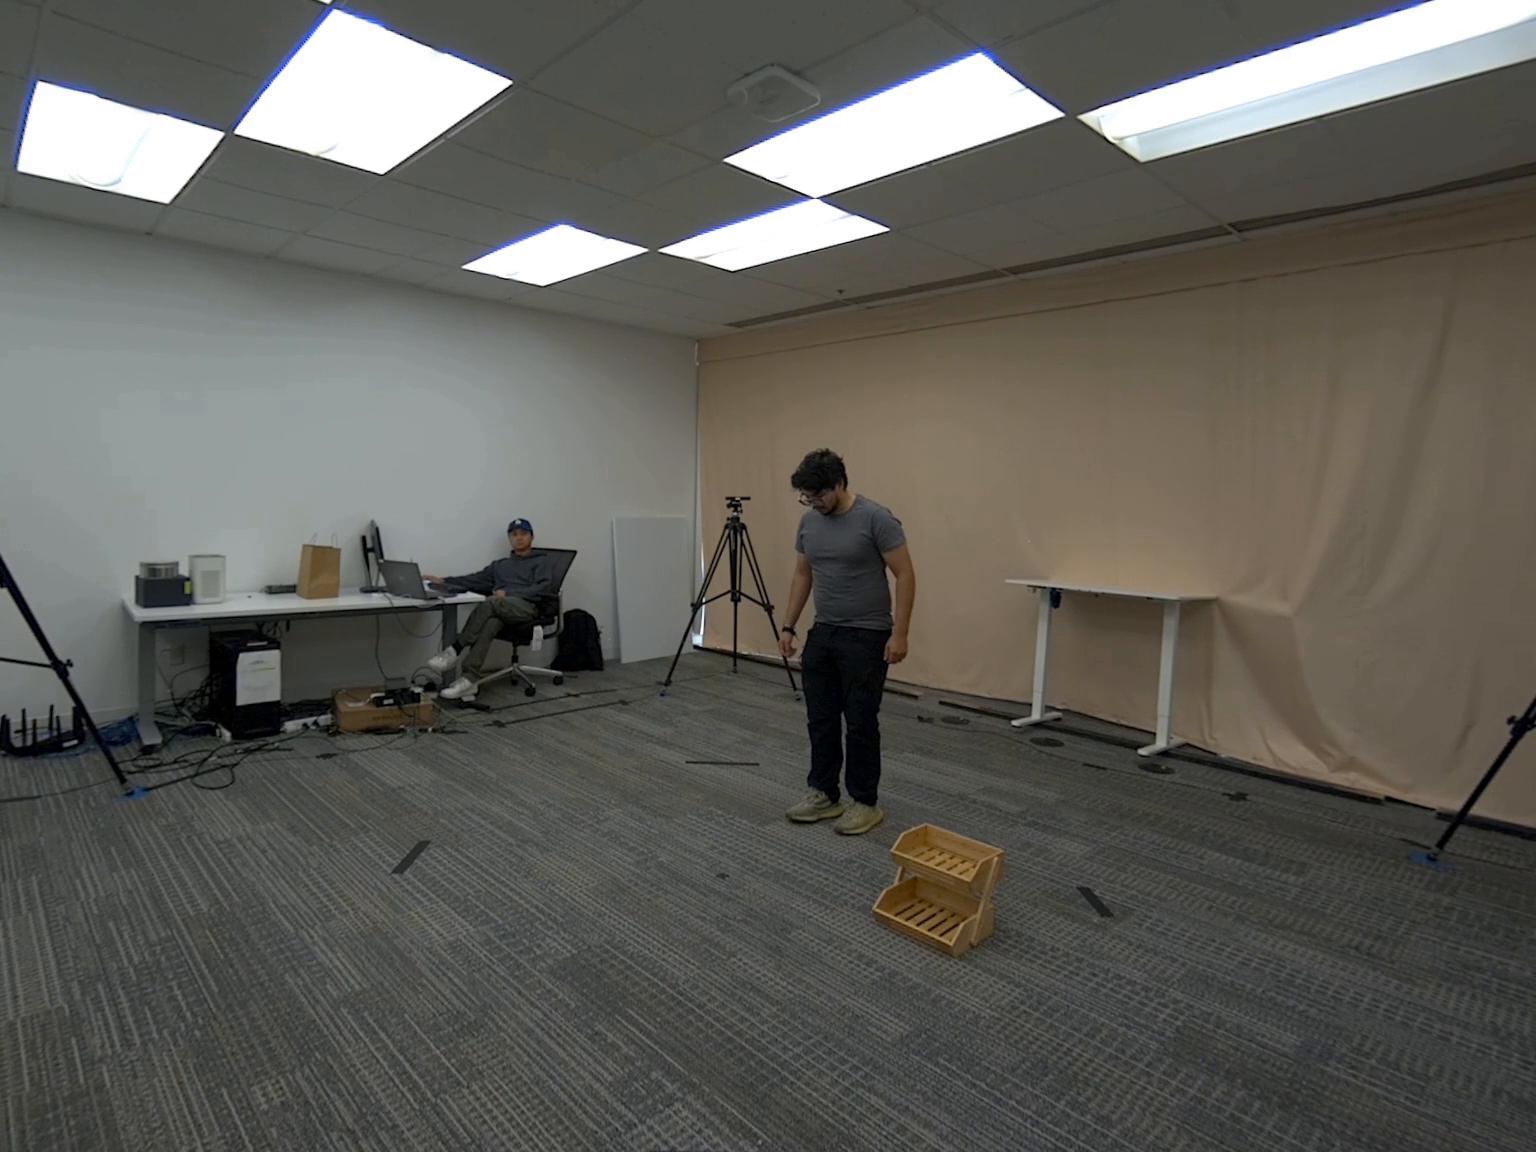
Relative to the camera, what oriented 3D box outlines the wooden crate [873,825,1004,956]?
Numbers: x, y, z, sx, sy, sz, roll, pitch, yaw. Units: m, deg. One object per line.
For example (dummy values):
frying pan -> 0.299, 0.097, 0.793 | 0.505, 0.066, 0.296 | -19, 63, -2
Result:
wooden crate -> 0.552, 1.022, 2.768 | 0.333, 0.273, 0.295 | 5, 5, 45
